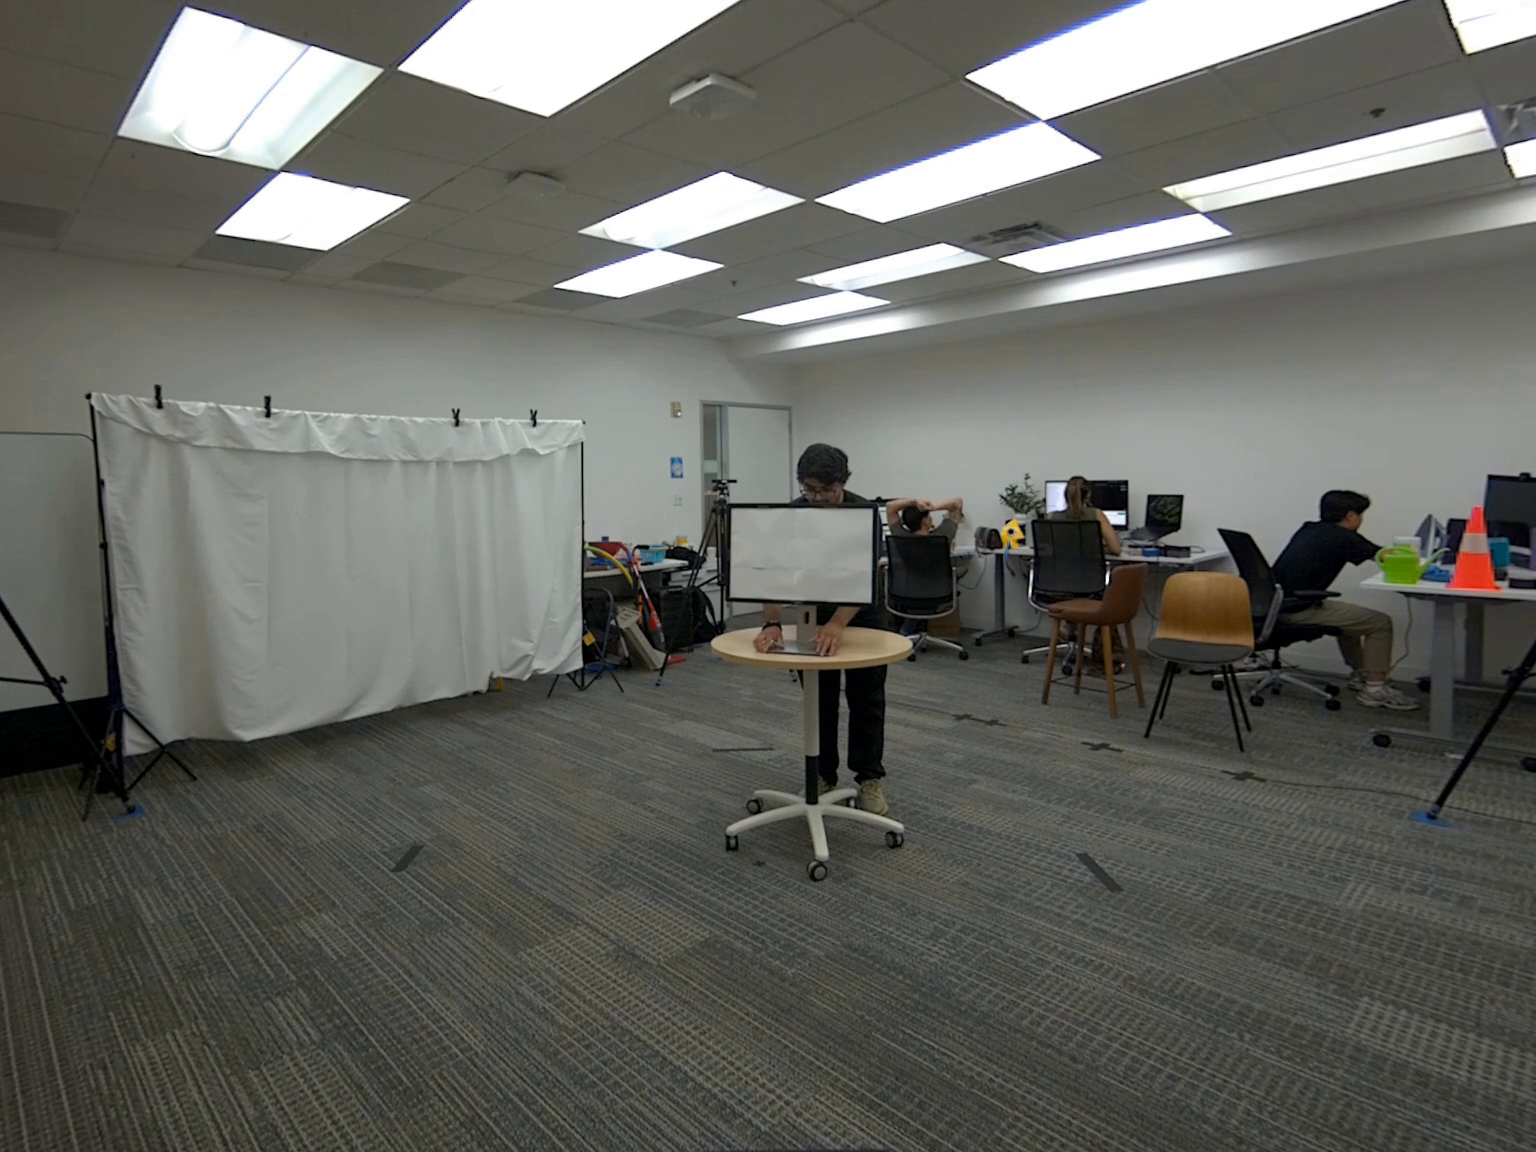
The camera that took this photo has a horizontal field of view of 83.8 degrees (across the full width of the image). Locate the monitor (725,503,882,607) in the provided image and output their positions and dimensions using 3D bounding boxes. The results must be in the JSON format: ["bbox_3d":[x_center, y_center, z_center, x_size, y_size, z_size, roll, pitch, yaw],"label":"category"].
[{"bbox_3d":[0.131,0.007,3.128,0.576,0.553,0.206,1,2,21],"label":"monitor"}]
